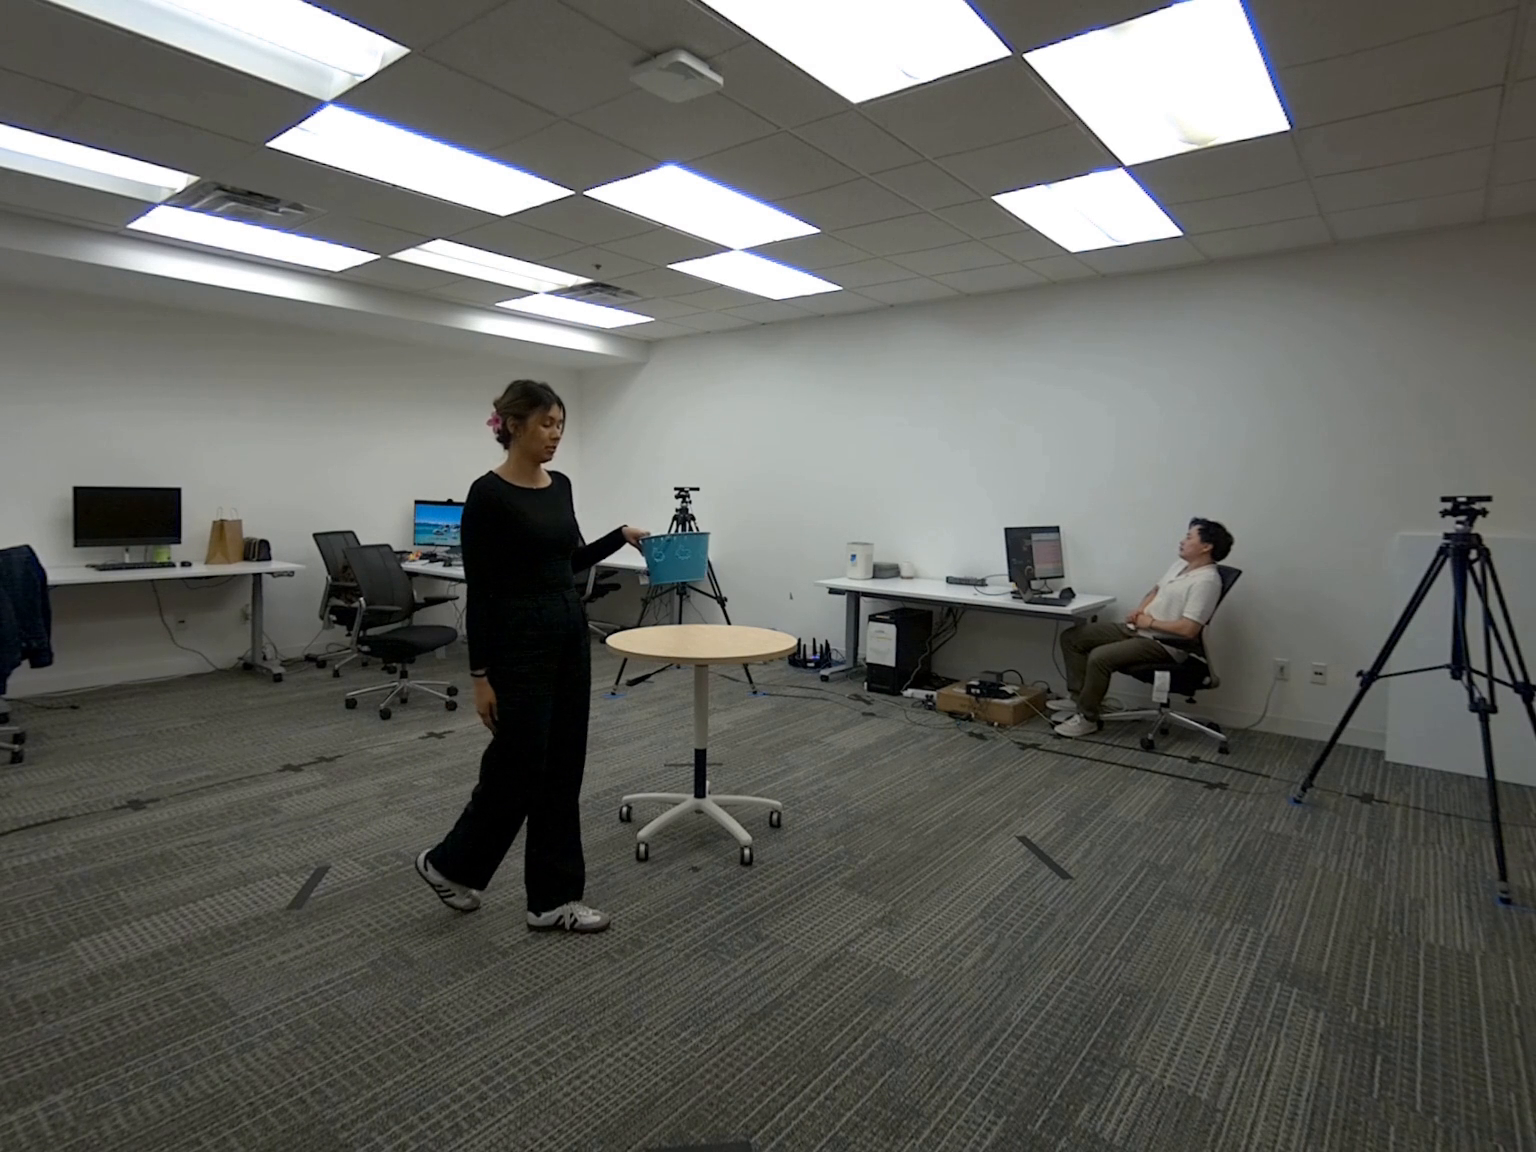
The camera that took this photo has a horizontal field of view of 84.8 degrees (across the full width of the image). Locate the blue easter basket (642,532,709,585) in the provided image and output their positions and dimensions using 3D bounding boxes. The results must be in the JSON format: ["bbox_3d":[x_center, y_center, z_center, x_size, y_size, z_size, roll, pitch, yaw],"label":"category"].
[{"bbox_3d":[-0.322,-0.055,2.750,0.243,0.156,0.244,-4,2,-2],"label":"blue easter basket"}]
